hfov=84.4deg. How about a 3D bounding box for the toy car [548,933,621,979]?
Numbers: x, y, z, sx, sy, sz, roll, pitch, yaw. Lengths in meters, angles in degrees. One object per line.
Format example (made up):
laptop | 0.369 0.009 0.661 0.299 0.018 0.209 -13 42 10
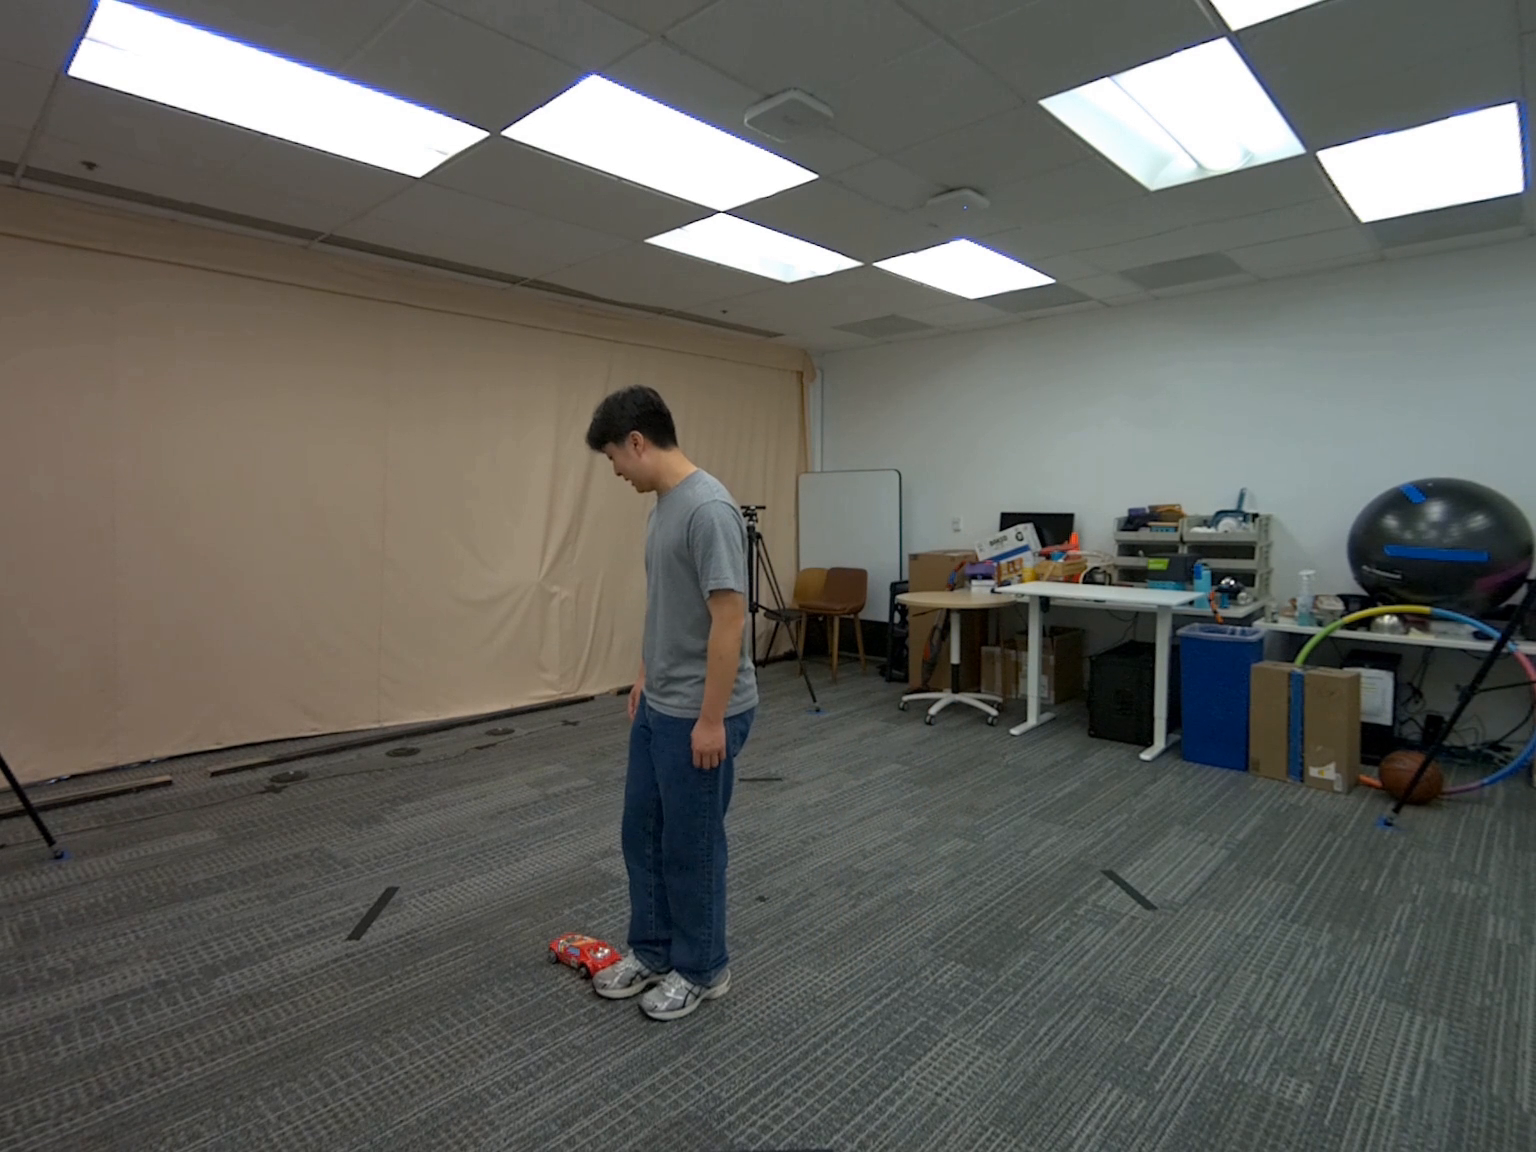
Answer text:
toy car | -0.557 1.153 2.552 0.261 0.083 0.126 -11 -4 39
